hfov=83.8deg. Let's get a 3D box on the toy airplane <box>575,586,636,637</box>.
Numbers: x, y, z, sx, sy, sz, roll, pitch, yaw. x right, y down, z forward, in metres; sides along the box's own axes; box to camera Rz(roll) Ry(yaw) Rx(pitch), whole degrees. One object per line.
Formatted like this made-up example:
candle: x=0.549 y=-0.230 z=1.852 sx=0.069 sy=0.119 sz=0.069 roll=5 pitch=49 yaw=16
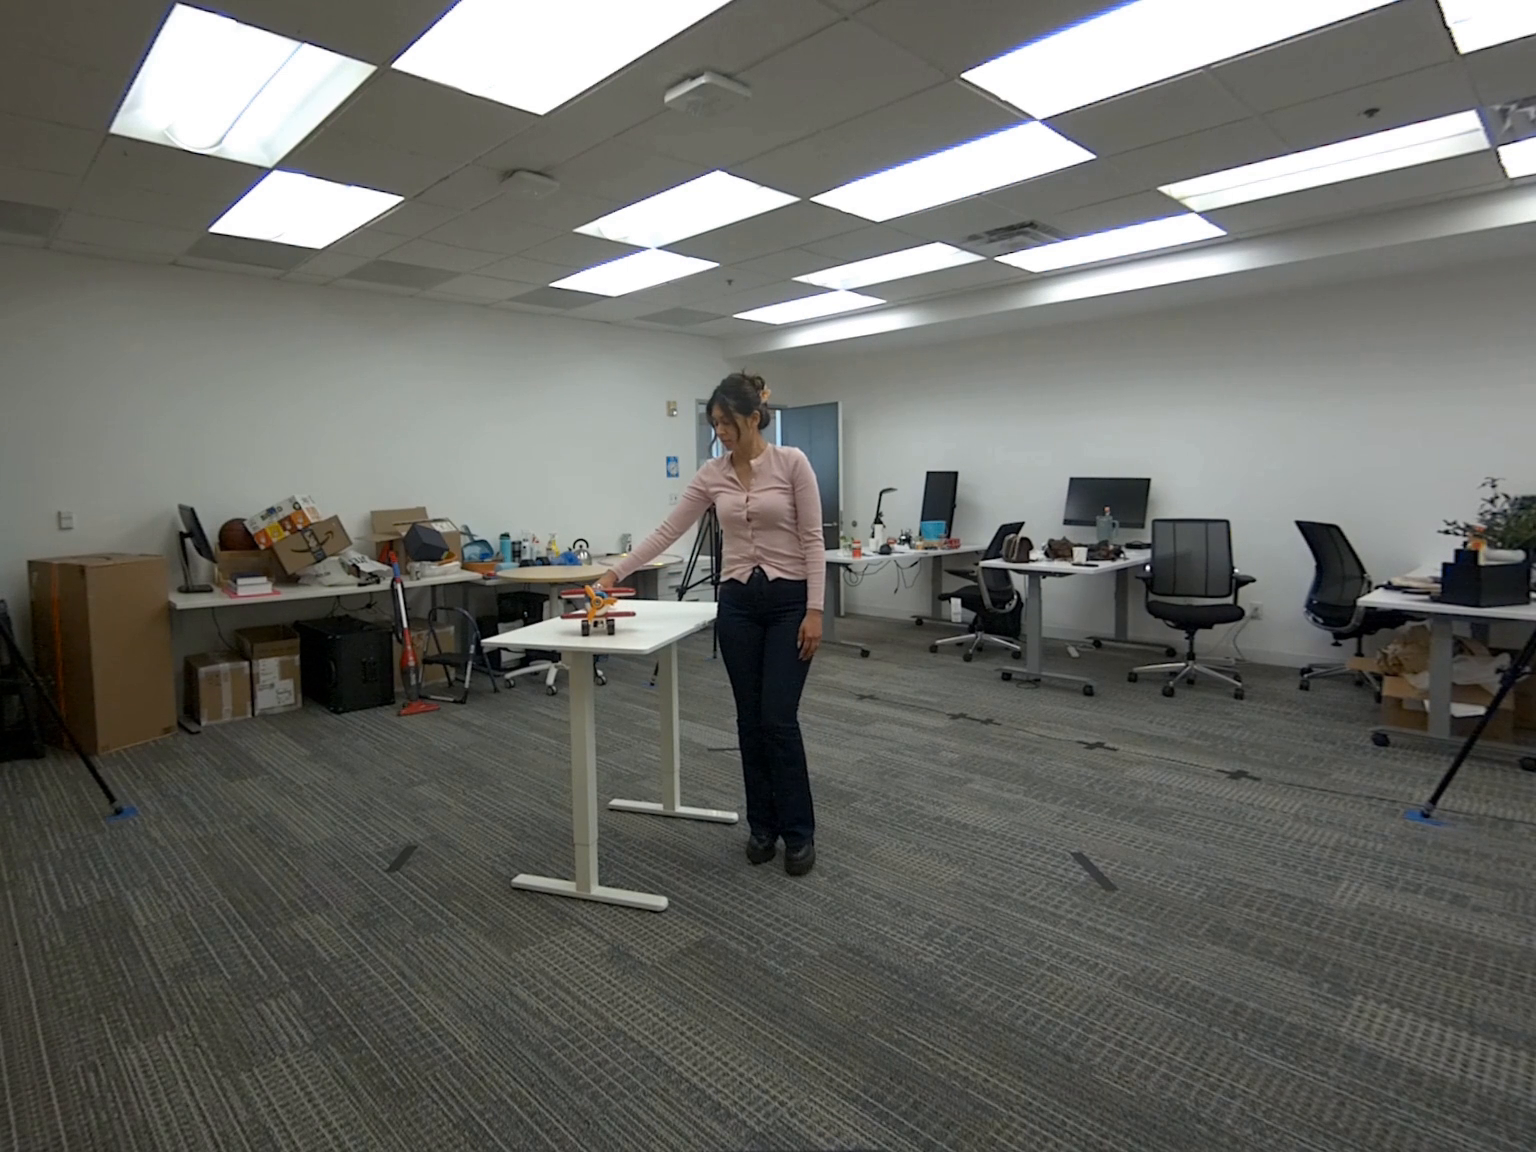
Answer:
toy airplane: x=-0.605 y=0.114 z=2.951 sx=0.245 sy=0.155 sz=0.267 roll=-5 pitch=8 yaw=-35
